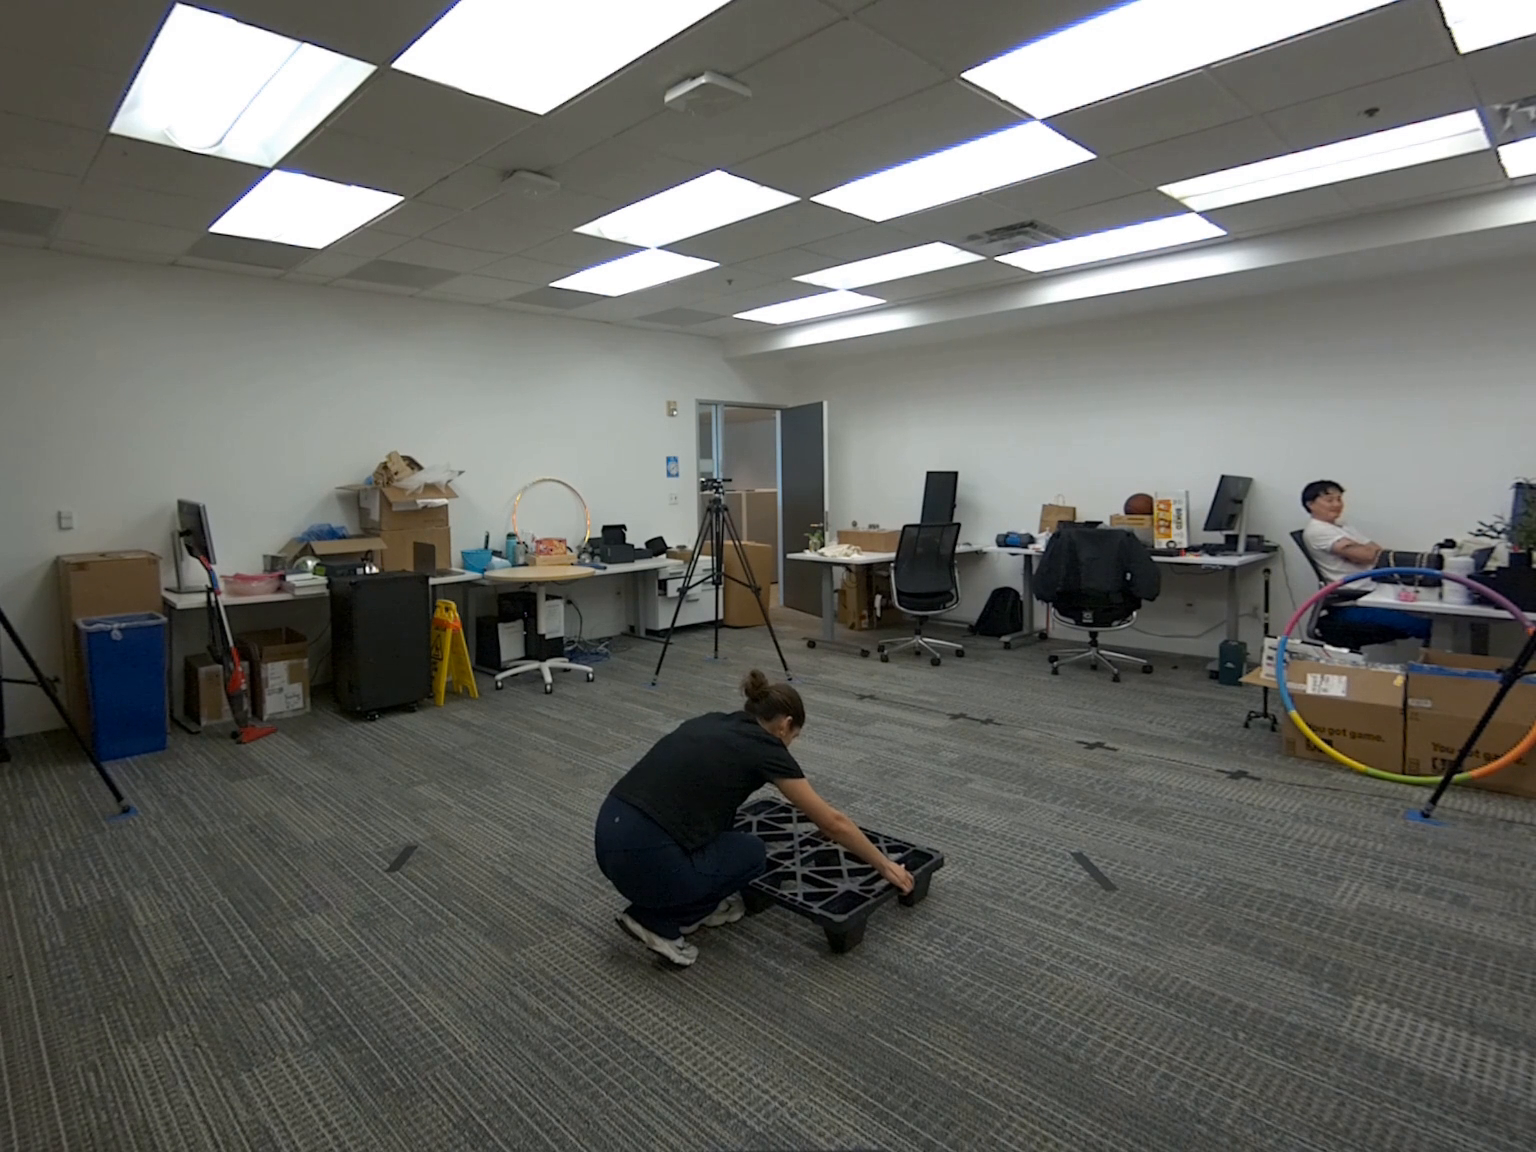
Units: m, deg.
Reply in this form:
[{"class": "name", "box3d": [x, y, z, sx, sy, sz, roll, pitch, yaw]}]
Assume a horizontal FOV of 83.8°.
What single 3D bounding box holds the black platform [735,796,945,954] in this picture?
[{"class": "black platform", "box3d": [0.103, 0.996, 2.934, 0.830, 0.142, 0.590, 5, 9, 42]}]
